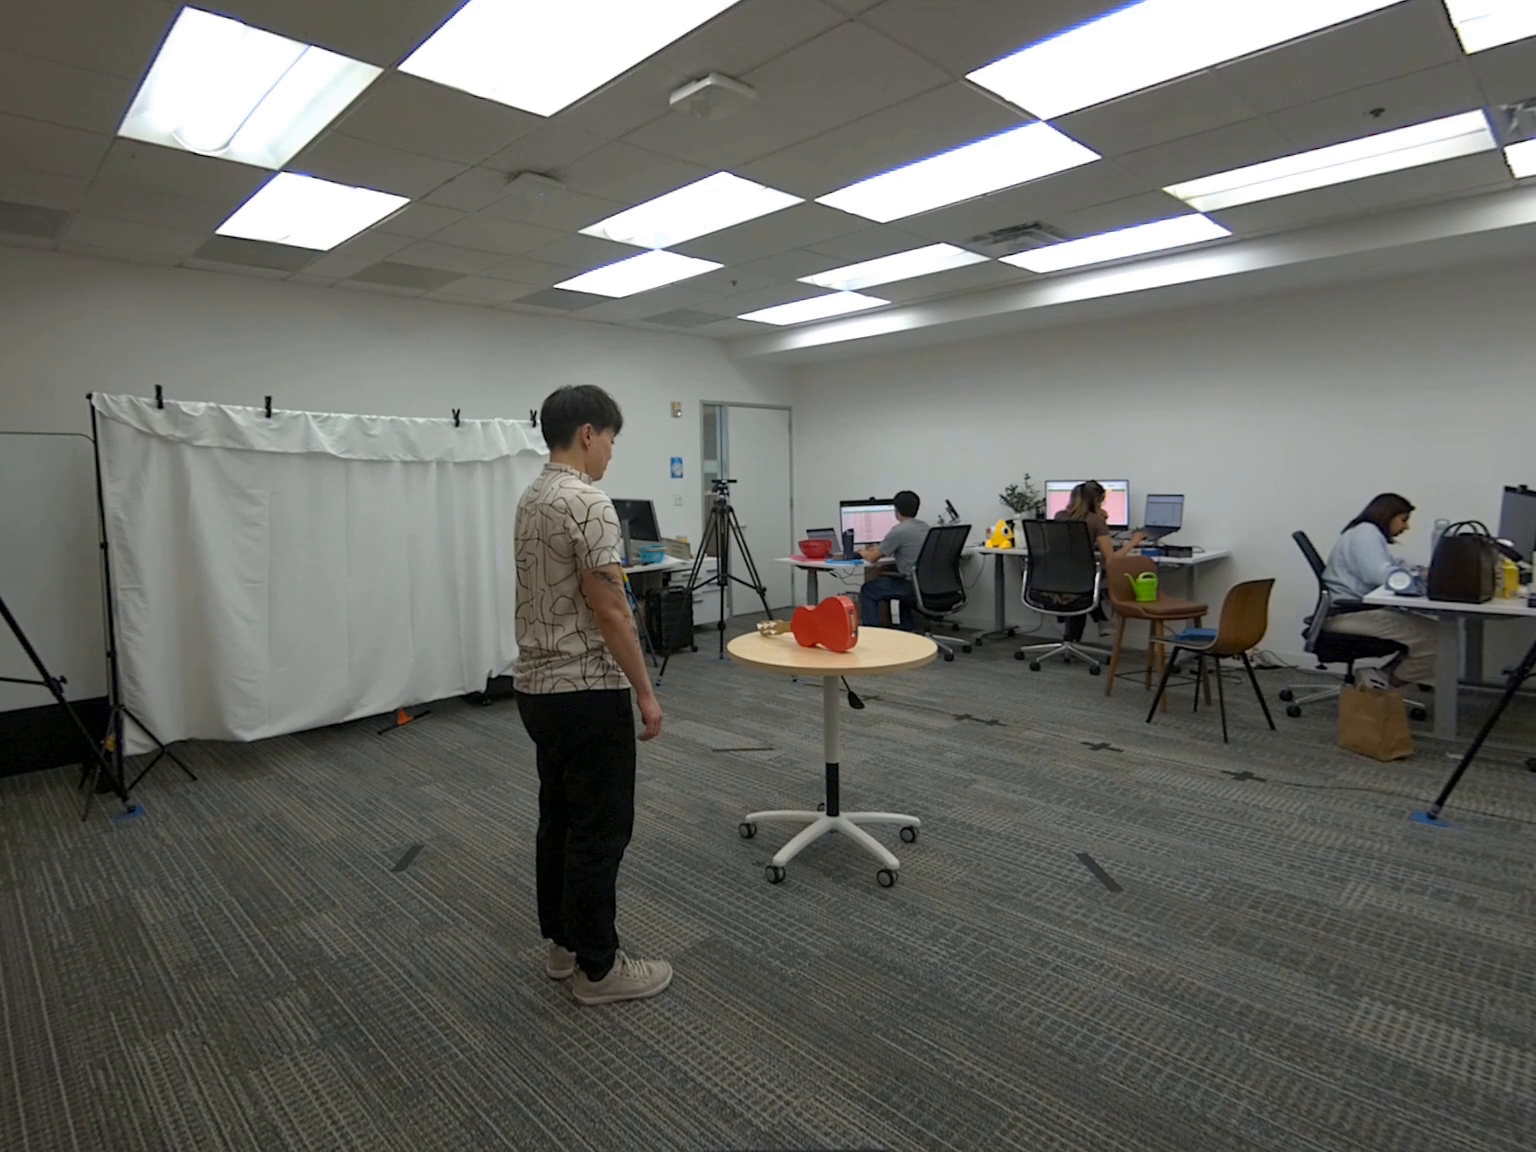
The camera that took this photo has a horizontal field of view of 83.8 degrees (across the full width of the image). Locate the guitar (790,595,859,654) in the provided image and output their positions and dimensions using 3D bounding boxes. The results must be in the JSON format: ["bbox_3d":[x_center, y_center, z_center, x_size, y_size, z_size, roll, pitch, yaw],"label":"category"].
[{"bbox_3d":[0.132,0.214,3.156,0.069,0.195,0.506,-4,-12,-43],"label":"guitar"}]
